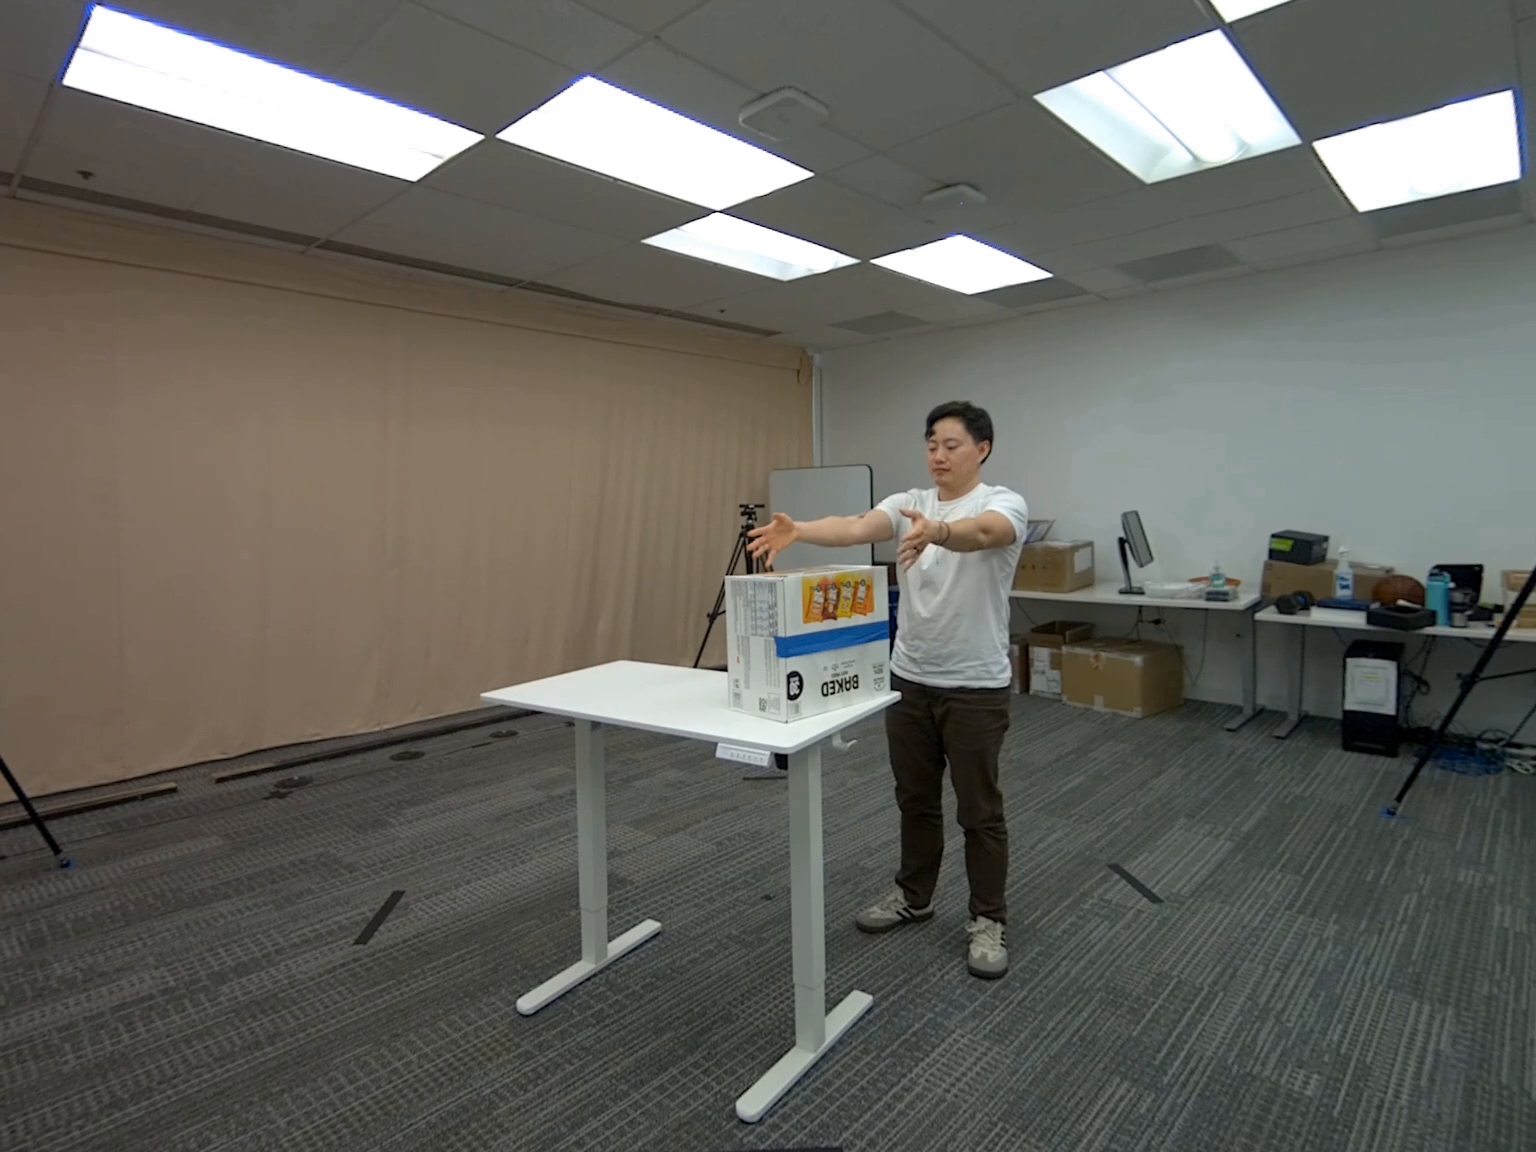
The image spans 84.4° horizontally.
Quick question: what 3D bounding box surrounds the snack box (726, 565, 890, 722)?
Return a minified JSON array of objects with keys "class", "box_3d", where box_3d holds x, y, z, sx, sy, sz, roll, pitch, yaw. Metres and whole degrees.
[{"class":"snack box","box_3d":[0.111,0.157,2.156,0.393,0.340,0.212,-4,4,-43]}]
